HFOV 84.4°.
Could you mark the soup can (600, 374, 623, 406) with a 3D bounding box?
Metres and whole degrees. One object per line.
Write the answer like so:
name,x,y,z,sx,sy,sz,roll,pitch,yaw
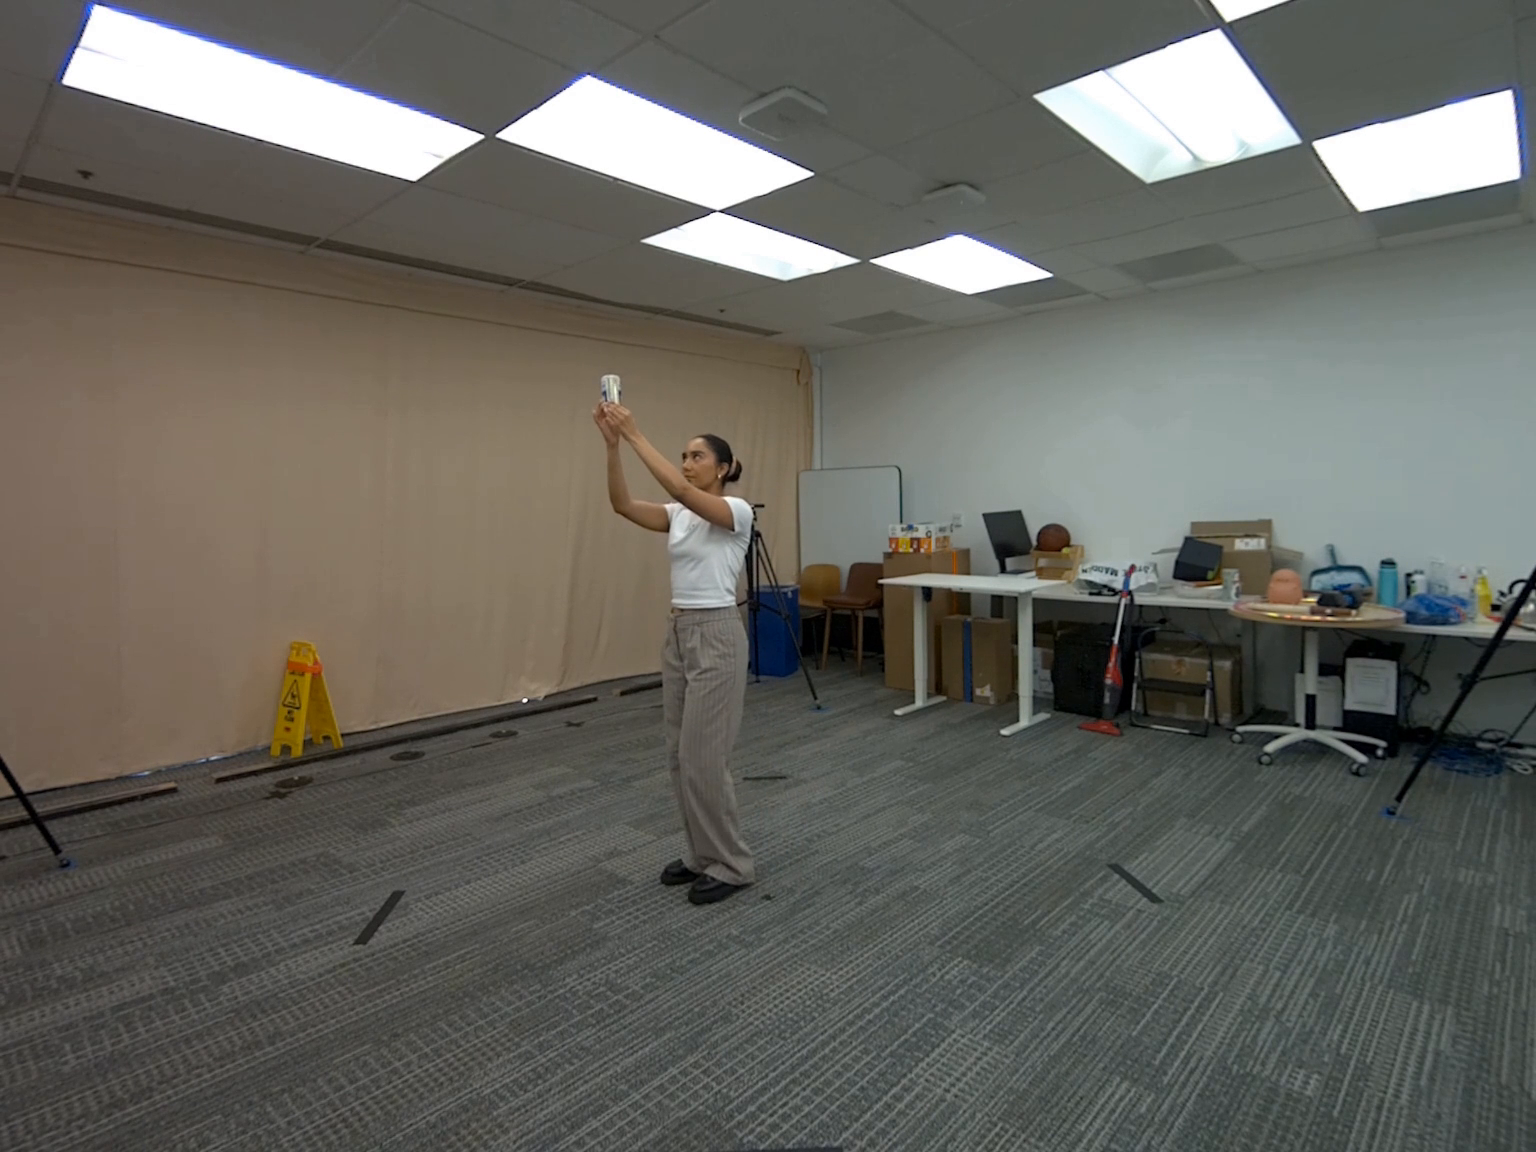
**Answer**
soup can,-0.534,-0.629,2.902,0.067,0.122,0.067,-3,-6,-2
